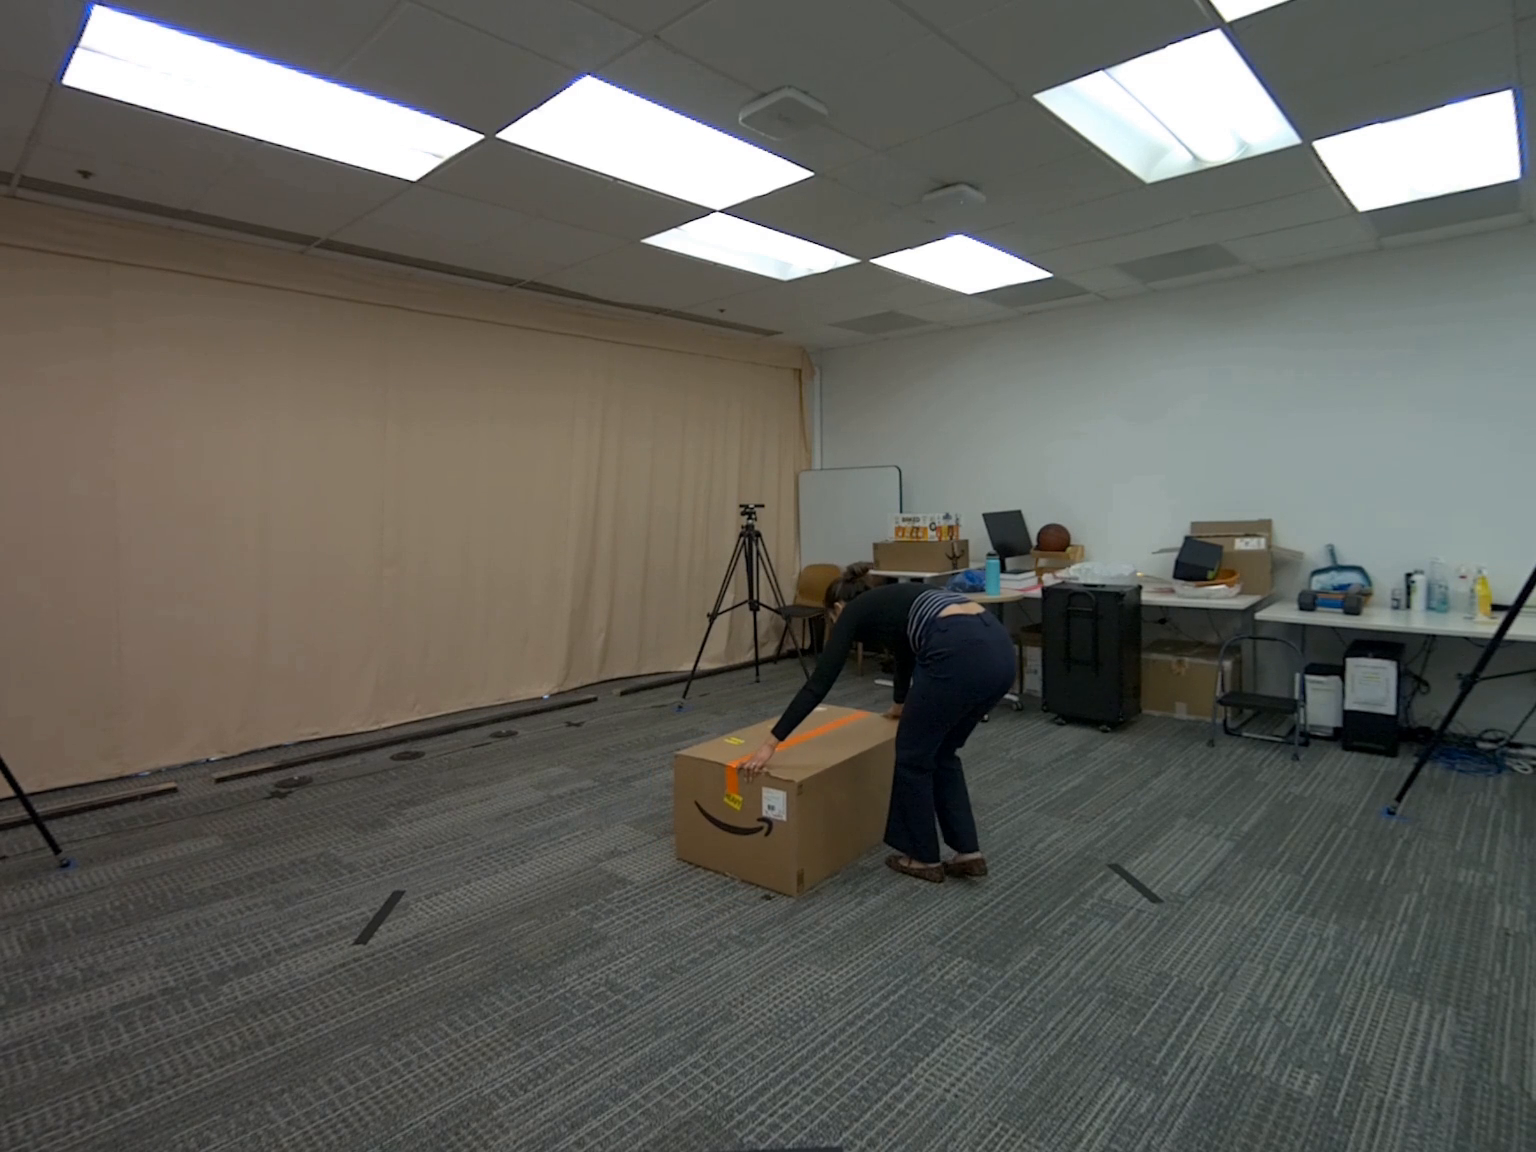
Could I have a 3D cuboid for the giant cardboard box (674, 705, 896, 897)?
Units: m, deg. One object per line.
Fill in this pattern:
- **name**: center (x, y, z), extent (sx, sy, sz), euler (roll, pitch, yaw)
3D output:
- **giant cardboard box**: center (0.167, 0.877, 3.521), extent (0.596, 0.425, 0.996), euler (2, 5, 37)
